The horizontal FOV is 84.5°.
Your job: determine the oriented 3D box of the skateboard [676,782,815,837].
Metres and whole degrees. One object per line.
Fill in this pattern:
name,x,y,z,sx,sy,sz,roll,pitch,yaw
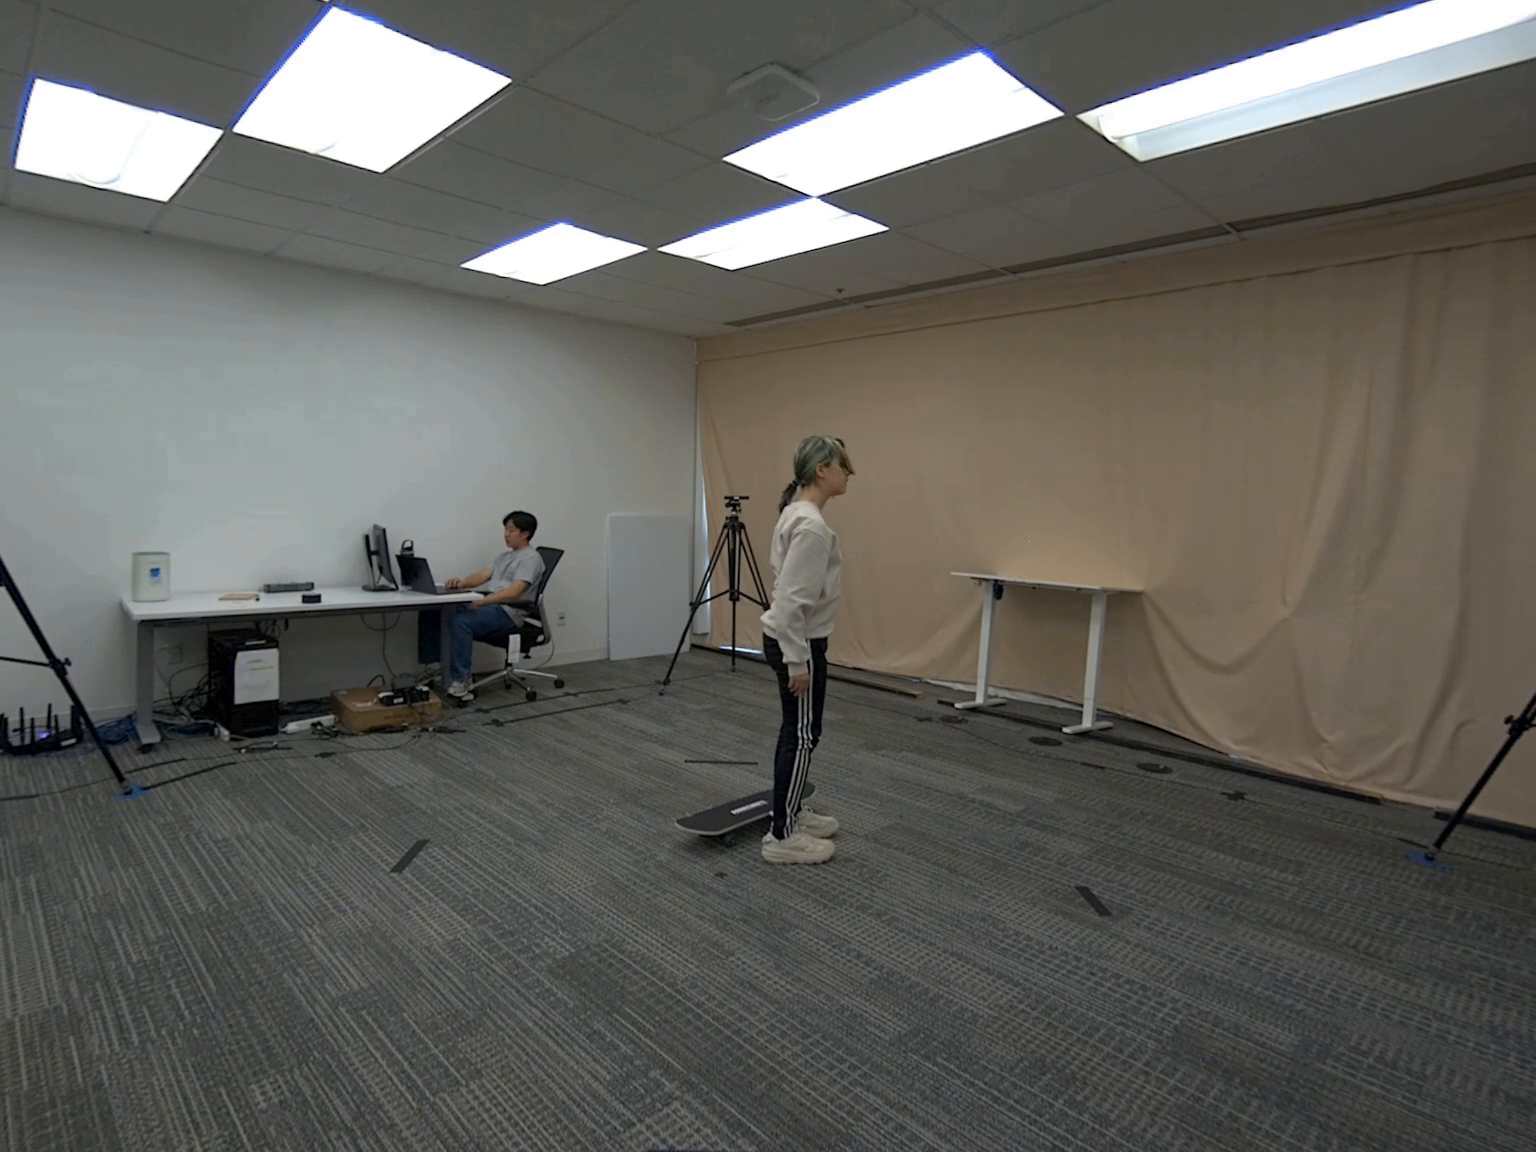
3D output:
skateboard,-0.083,1.008,3.558,0.198,0.110,0.768,6,7,42
